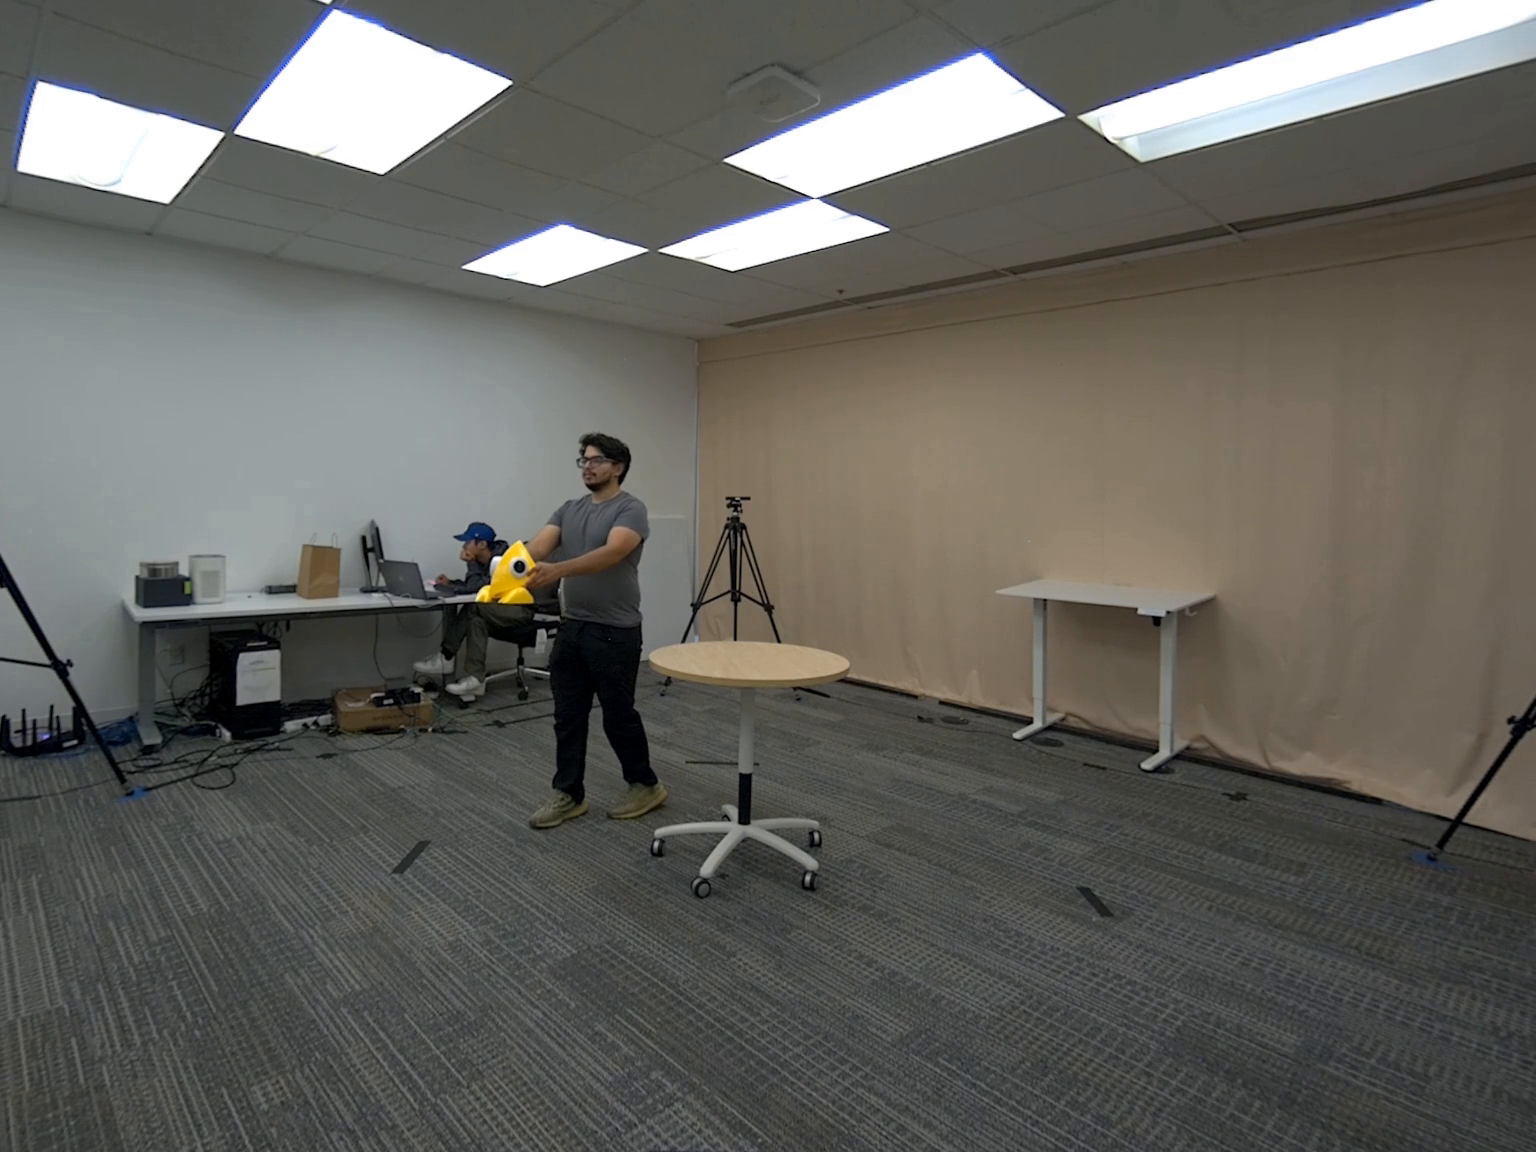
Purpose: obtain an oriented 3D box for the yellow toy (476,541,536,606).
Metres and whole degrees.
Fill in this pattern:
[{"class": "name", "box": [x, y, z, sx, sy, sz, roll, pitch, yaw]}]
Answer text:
[{"class": "yellow toy", "box": [-0.976, -0.018, 3.108, 0.208, 0.231, 0.189, 1, -1, 25]}]
